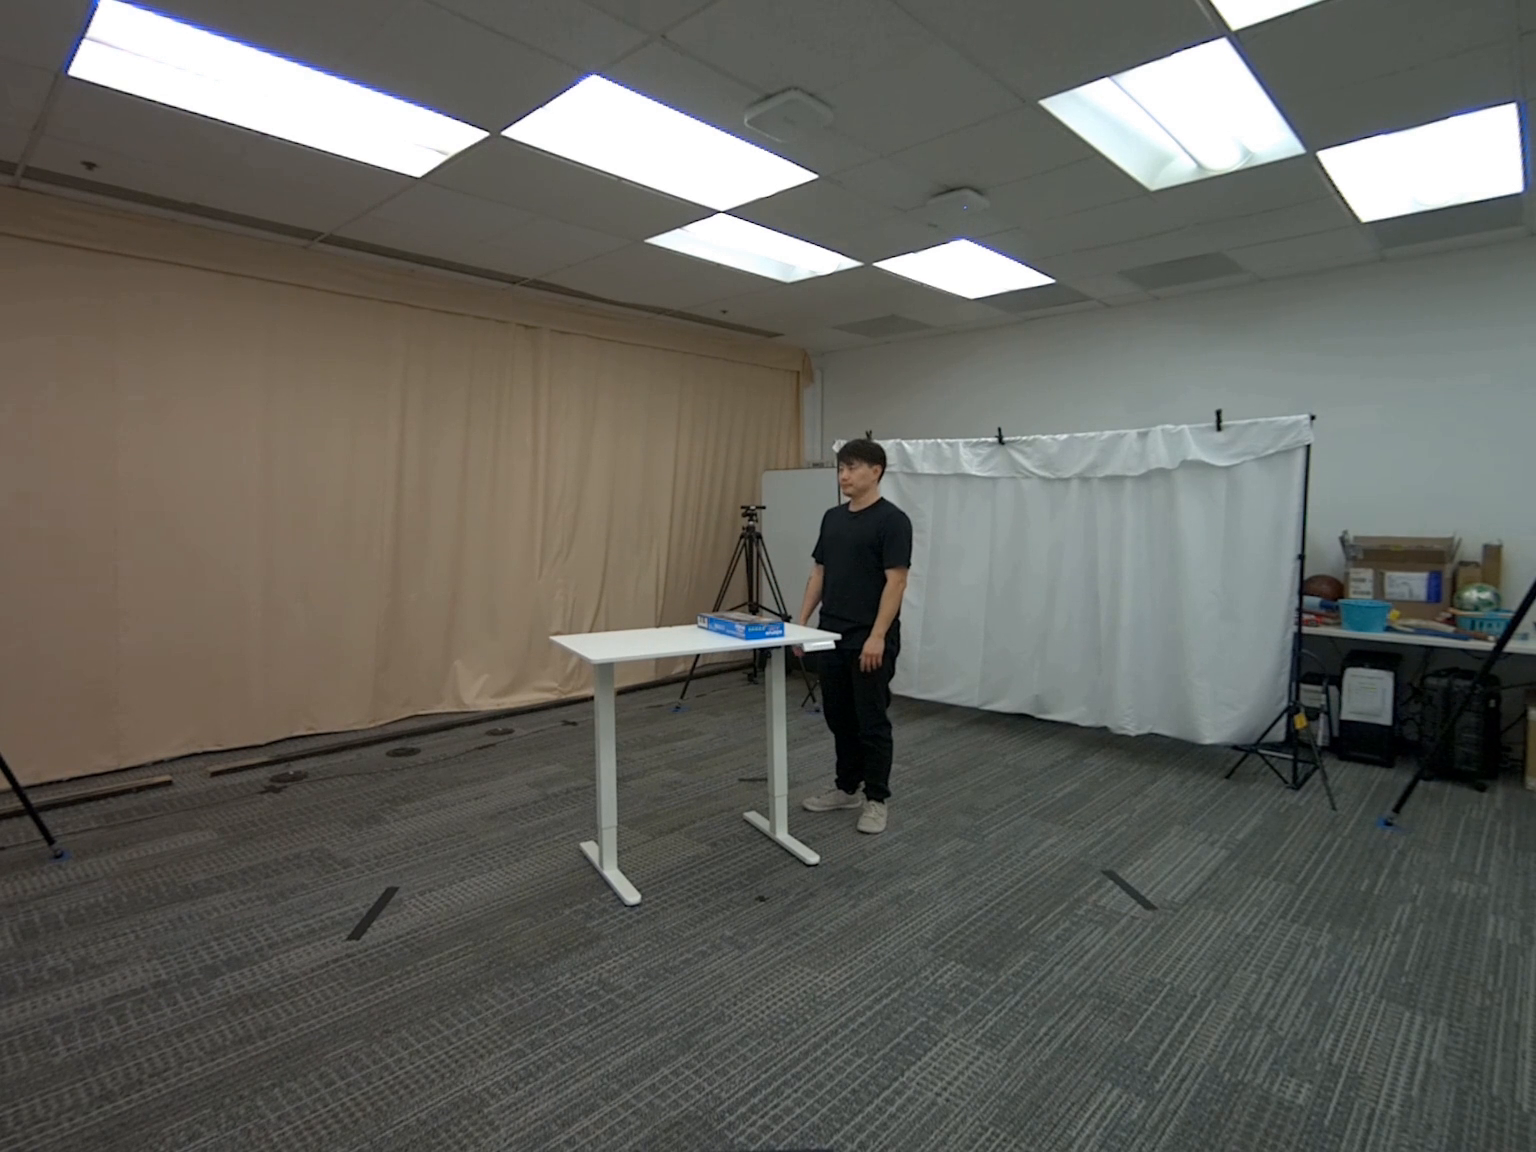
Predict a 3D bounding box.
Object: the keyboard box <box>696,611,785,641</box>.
[{"bbox_3d":[-0.116,0.197,3.406,0.171,0.059,0.449,-3,5,-29],"label":"keyboard box"}]
